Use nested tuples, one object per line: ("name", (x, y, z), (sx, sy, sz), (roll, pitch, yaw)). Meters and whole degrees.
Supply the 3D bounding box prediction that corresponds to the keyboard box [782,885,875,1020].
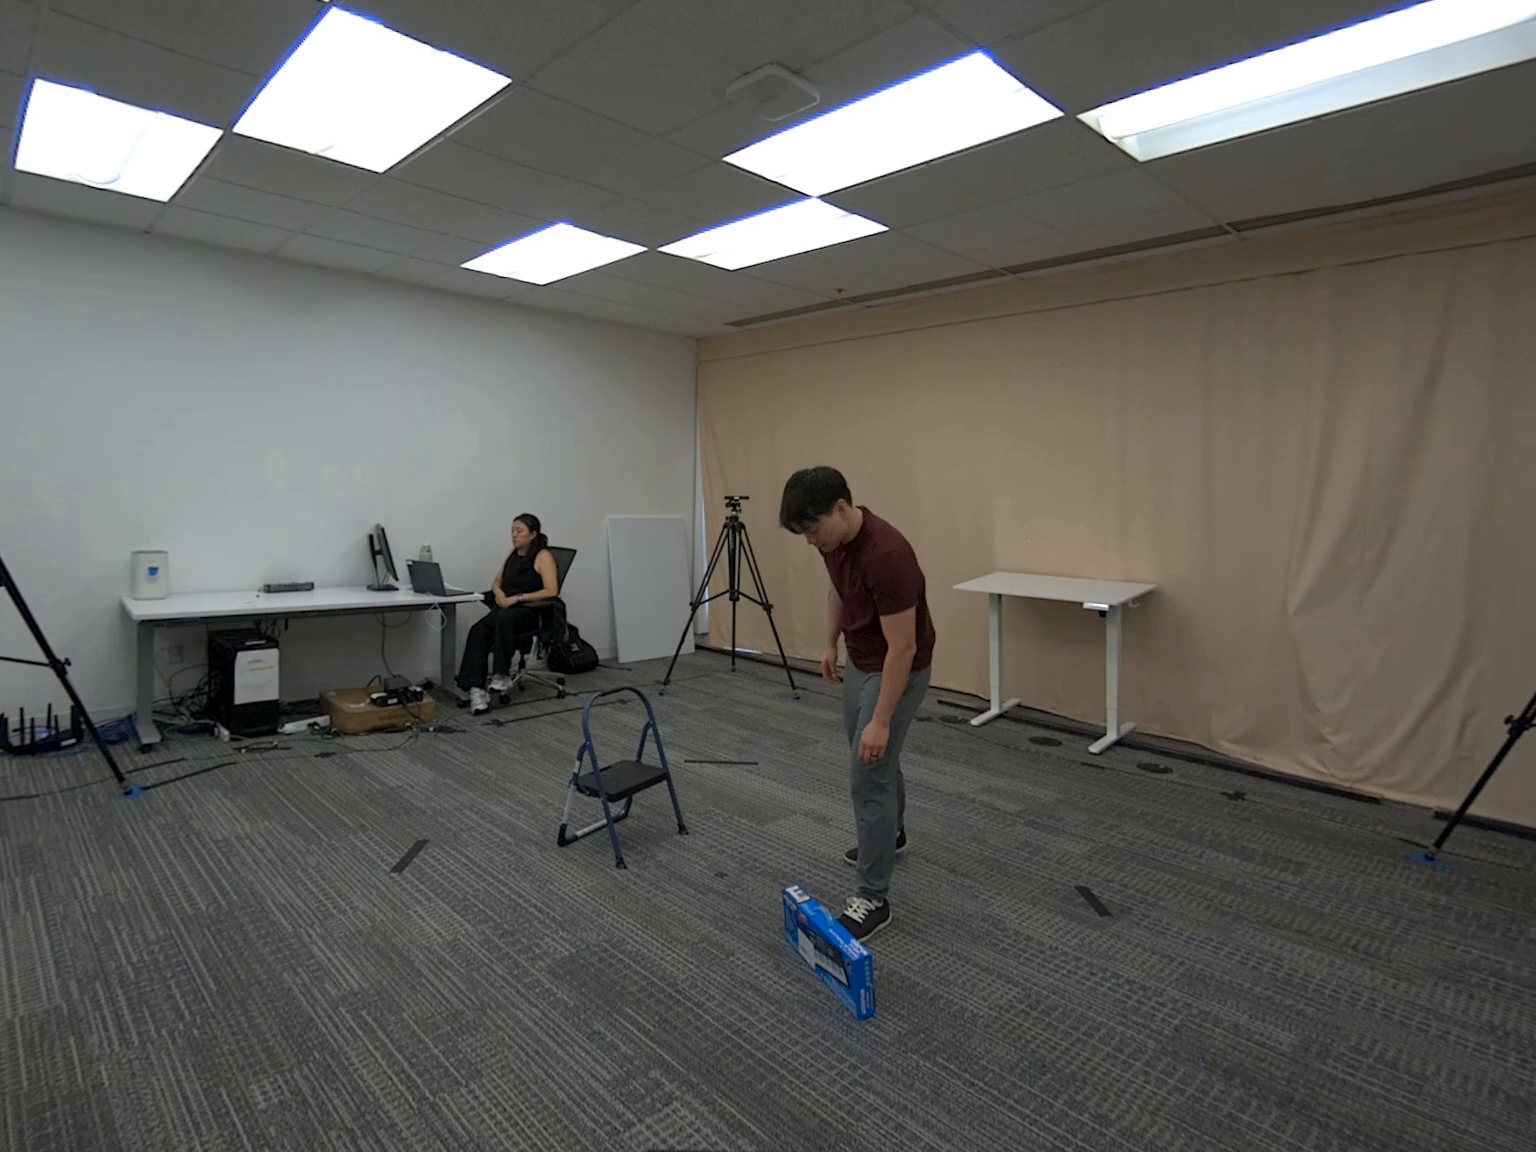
("keyboard box", (0.161, 1.086, 2.459), (0.058, 0.175, 0.446), (-7, 8, -24))
